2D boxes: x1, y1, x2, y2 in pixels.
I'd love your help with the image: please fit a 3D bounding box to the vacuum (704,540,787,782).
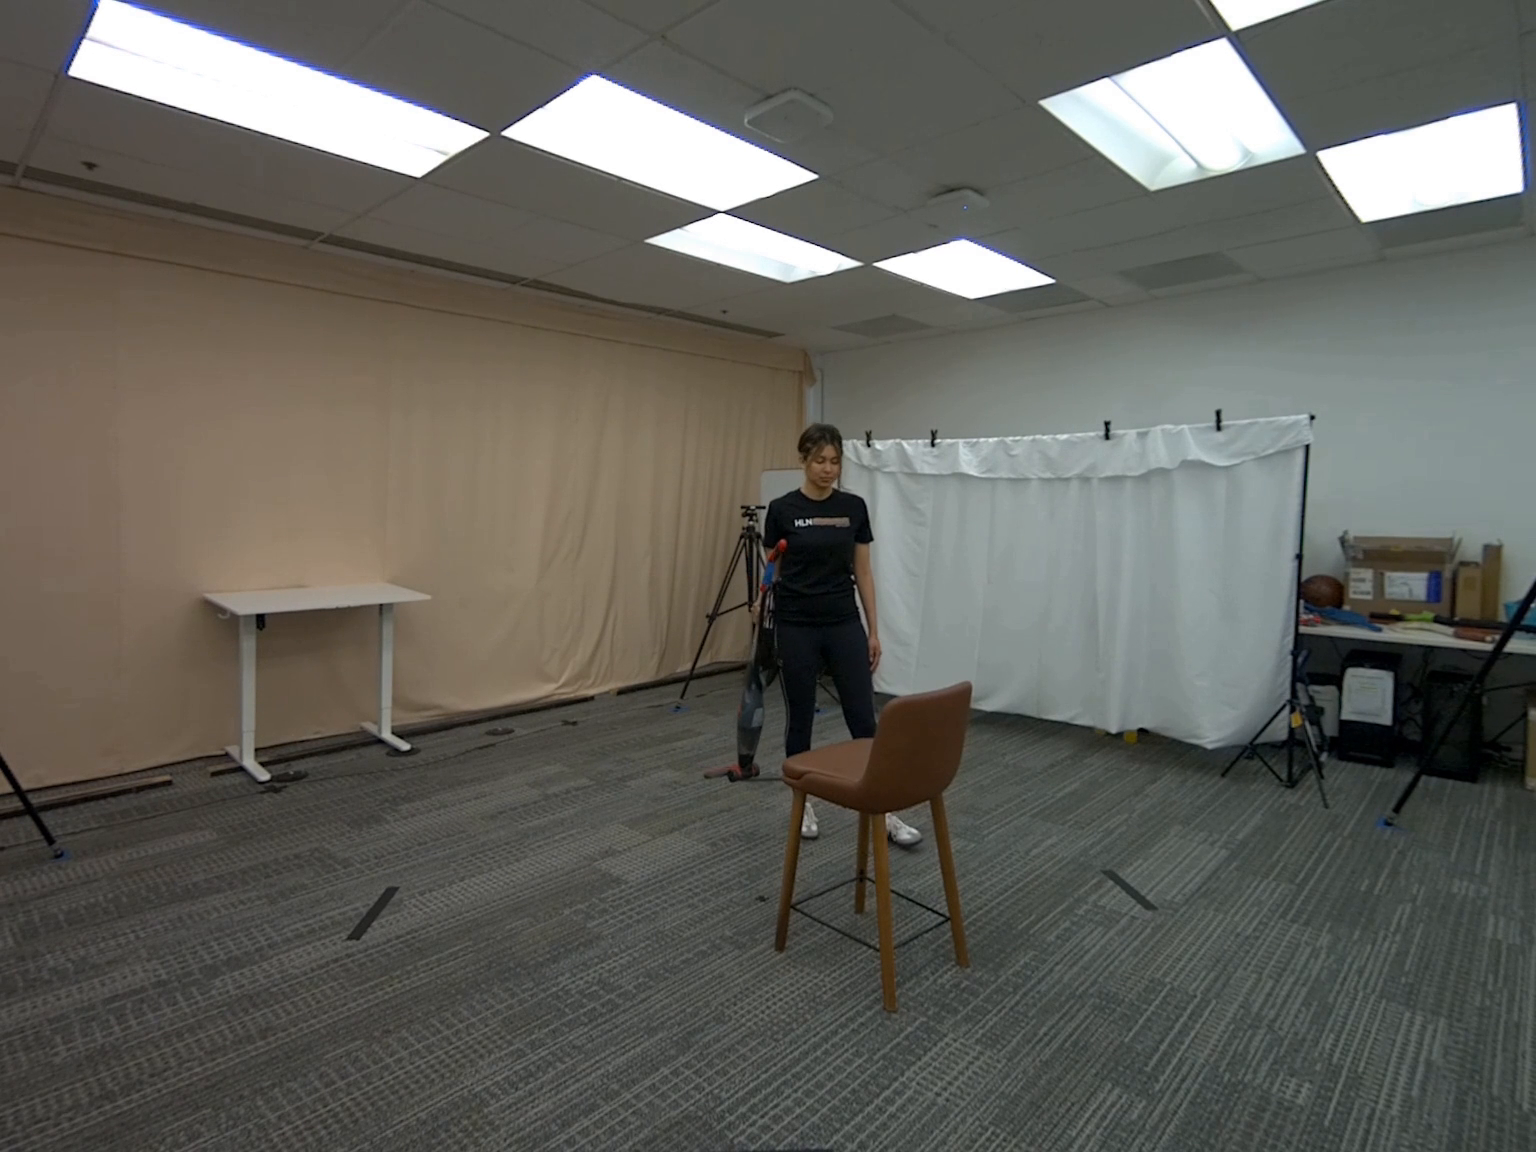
[{"bbox_3d":[-0.040,0.362,3.355,0.245,1.041,0.149,-4,25,-37],"label":"vacuum"}]
